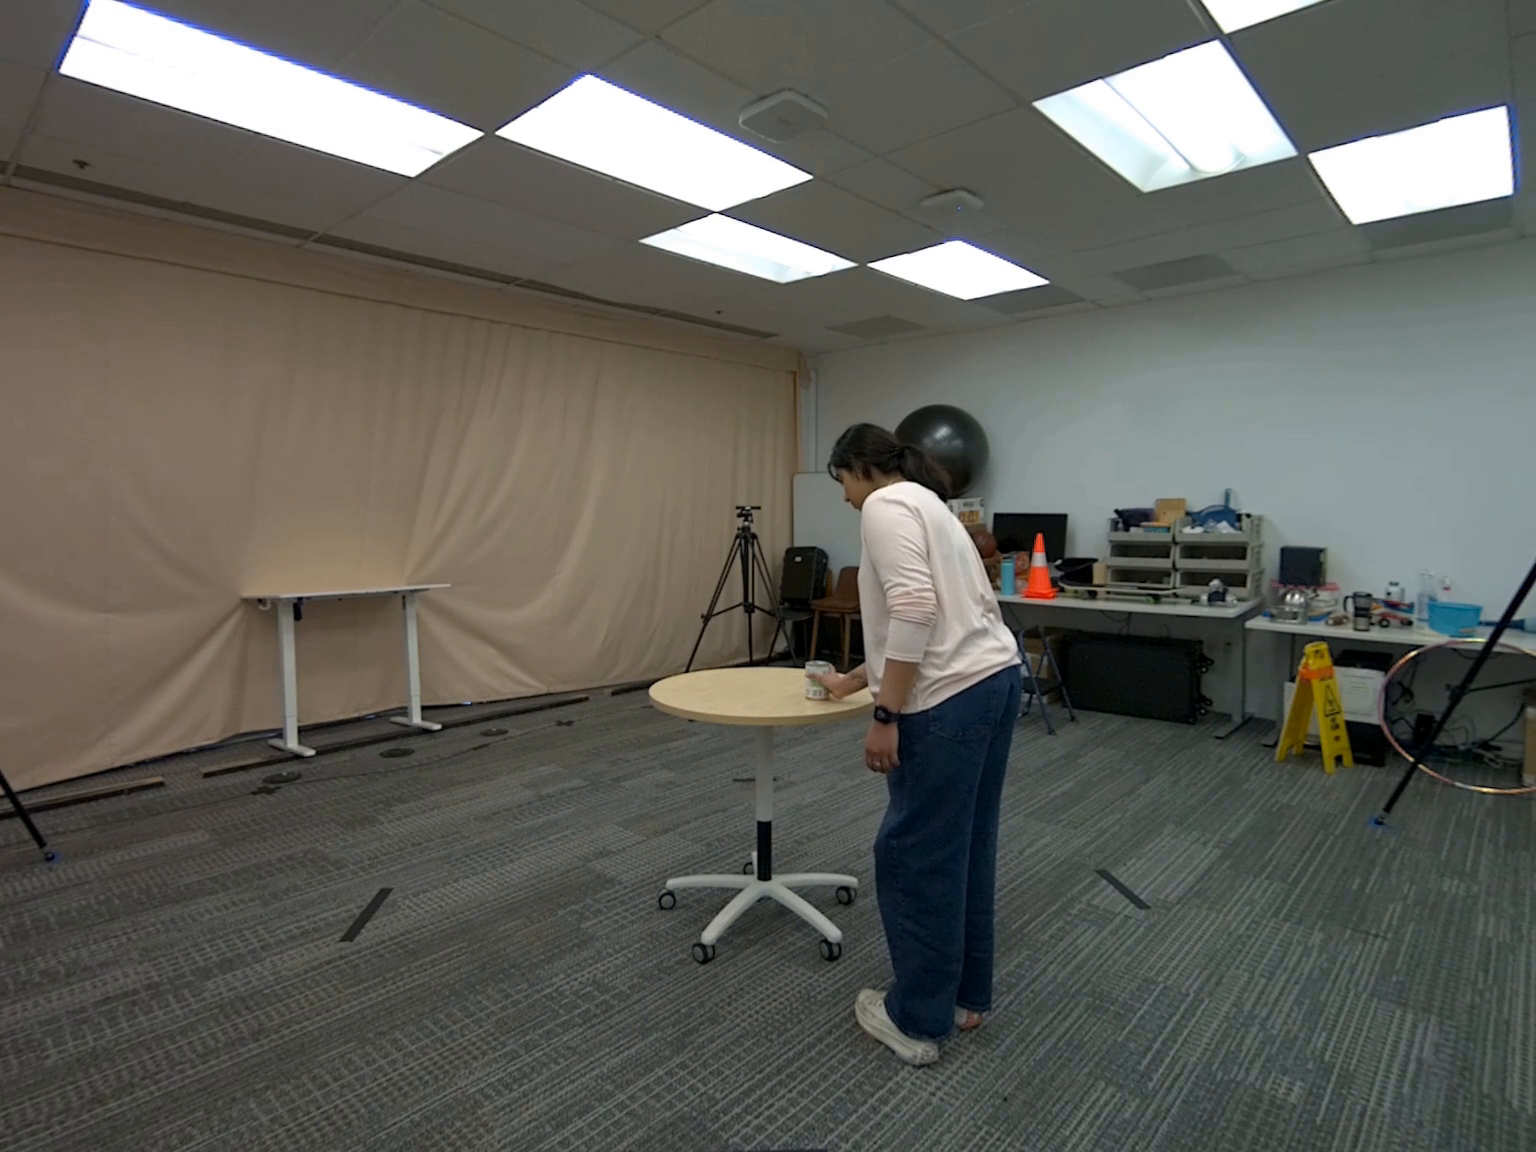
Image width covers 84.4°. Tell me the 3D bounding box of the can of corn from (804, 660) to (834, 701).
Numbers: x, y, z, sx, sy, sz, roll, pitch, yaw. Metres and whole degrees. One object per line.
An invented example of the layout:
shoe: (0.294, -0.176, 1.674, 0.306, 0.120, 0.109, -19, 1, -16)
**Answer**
can of corn: (0.165, 0.332, 2.644, 0.074, 0.111, 0.074, -1, 3, -2)
